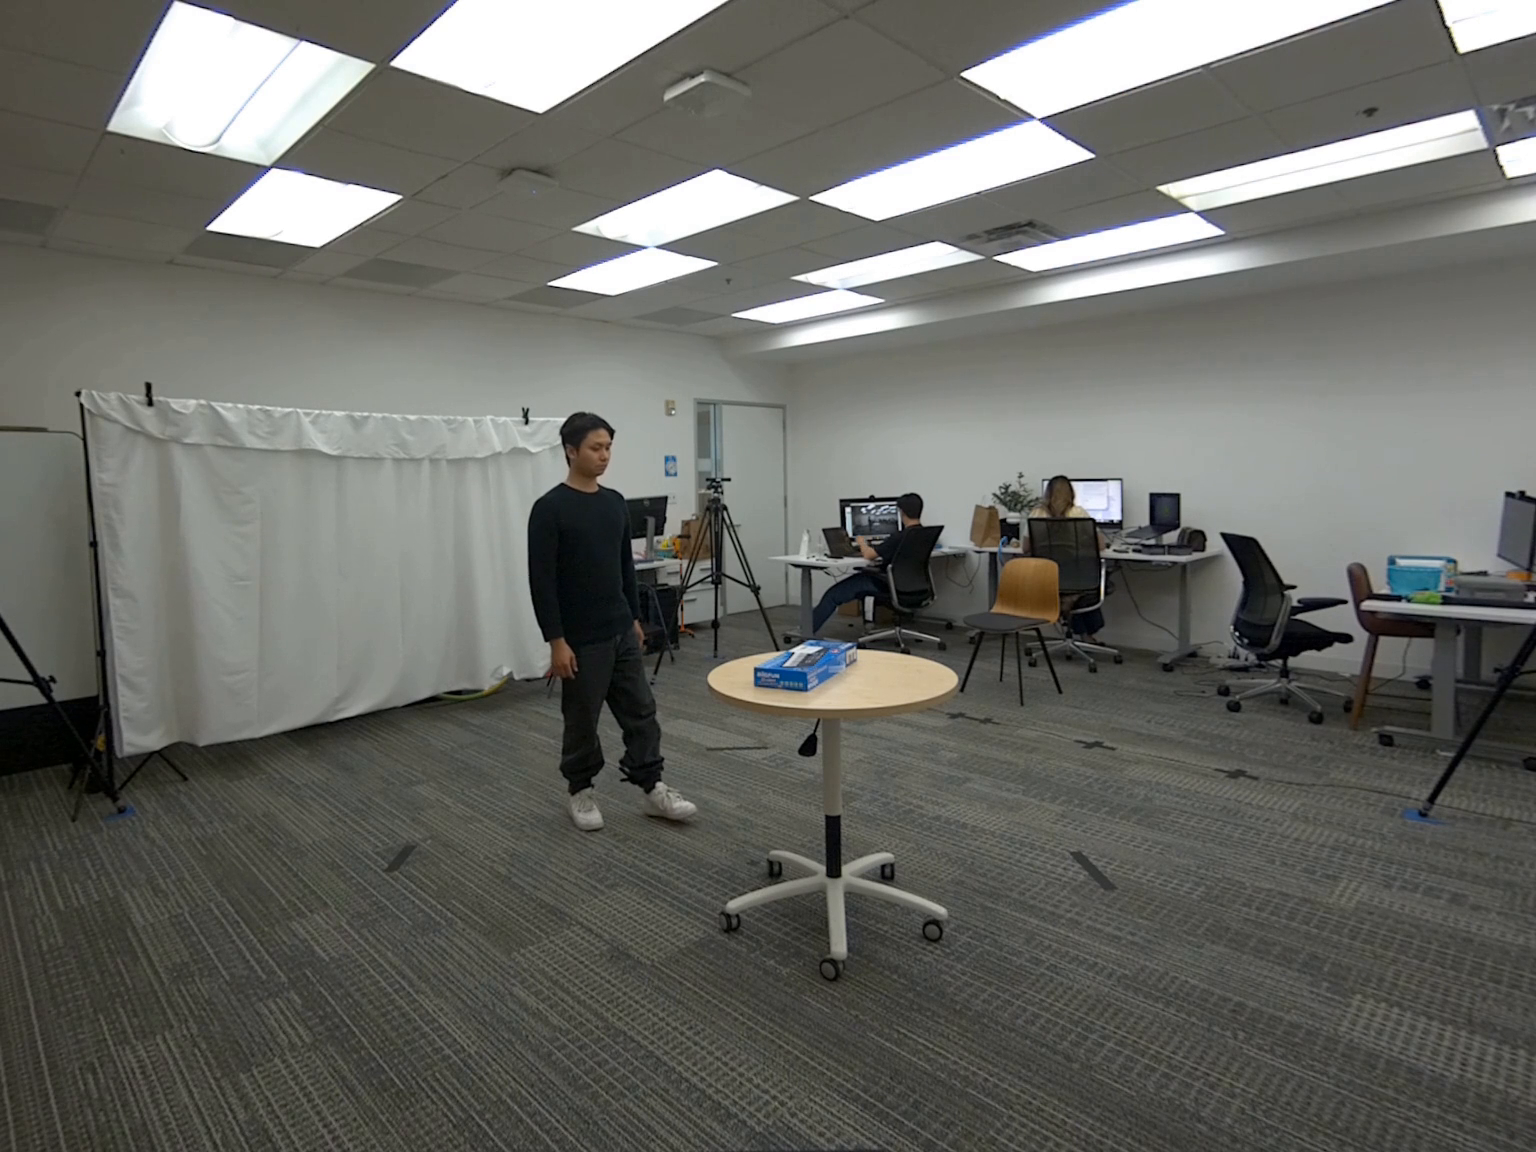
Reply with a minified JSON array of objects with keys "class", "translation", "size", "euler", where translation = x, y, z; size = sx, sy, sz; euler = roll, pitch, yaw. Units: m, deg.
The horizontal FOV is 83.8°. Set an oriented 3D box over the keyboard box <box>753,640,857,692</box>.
[{"class":"keyboard box","translation":[0.128,0.274,2.686],"size":[0.180,0.059,0.429],"euler":[1,7,25]}]
